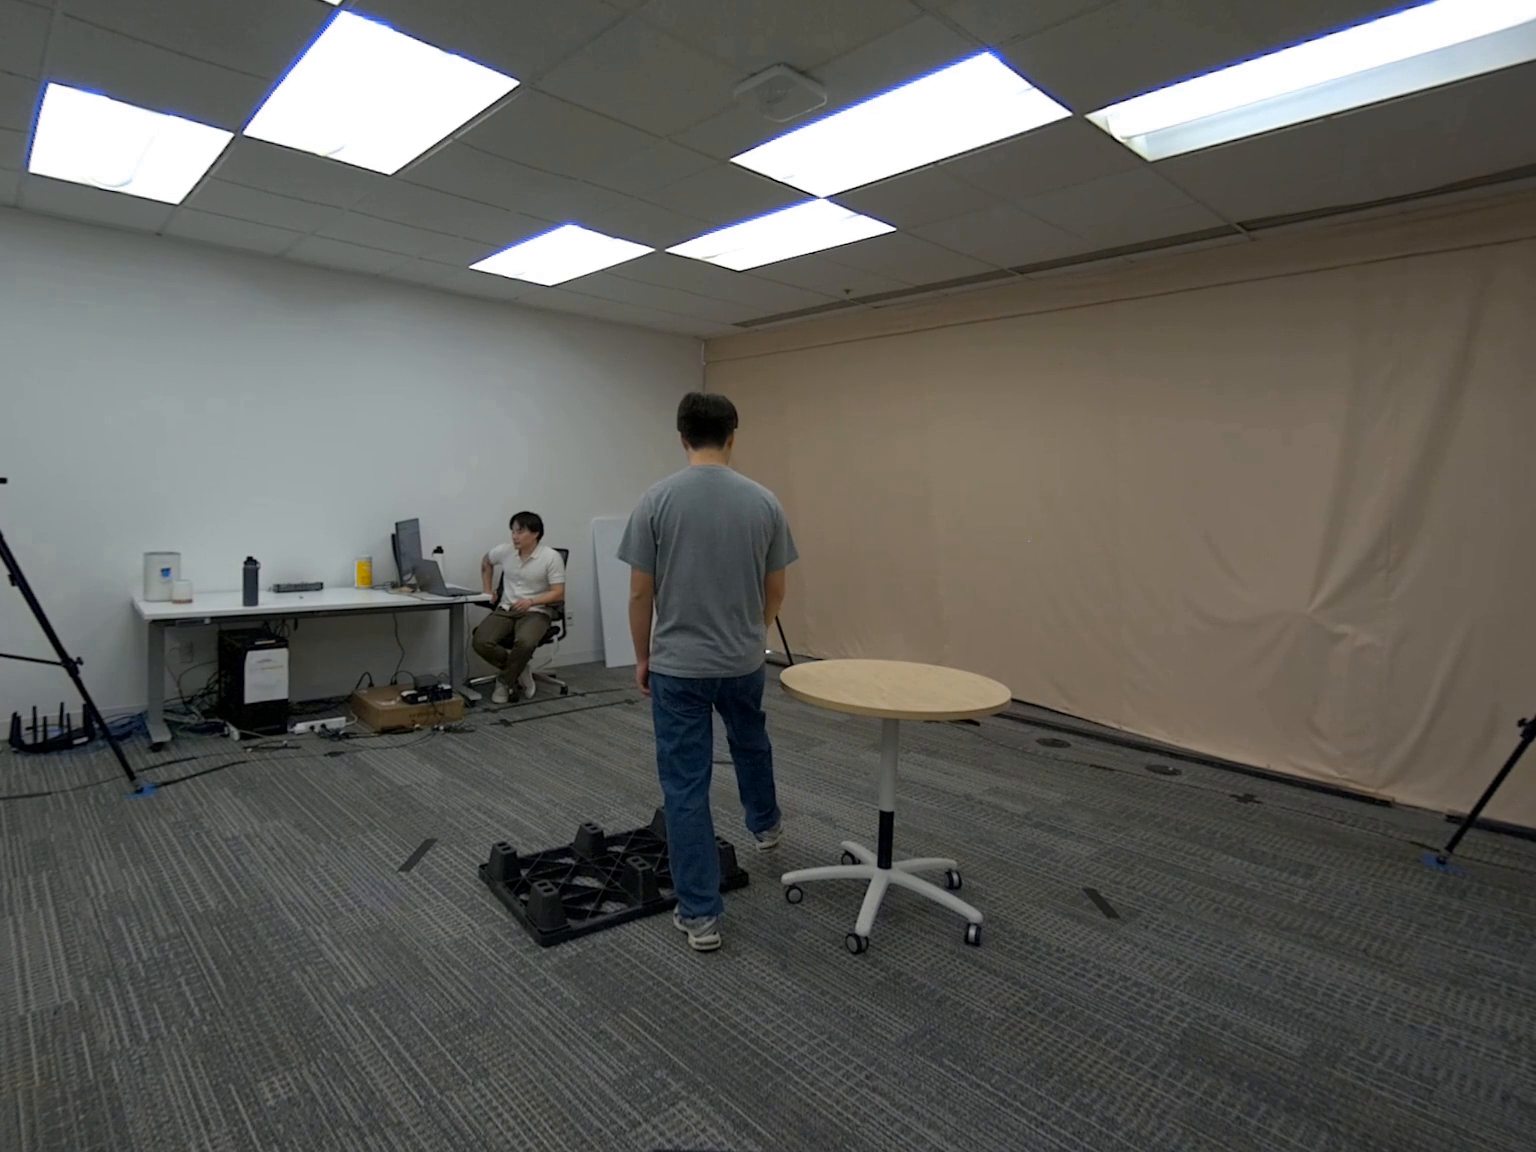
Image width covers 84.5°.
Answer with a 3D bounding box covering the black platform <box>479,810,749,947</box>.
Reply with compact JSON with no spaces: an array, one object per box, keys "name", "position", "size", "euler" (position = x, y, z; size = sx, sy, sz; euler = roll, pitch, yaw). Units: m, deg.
[{"name":"black platform","position":[-0.566,1.041,3.041],"size":[0.788,0.143,0.620],"euler":[-3,6,-36]}]
